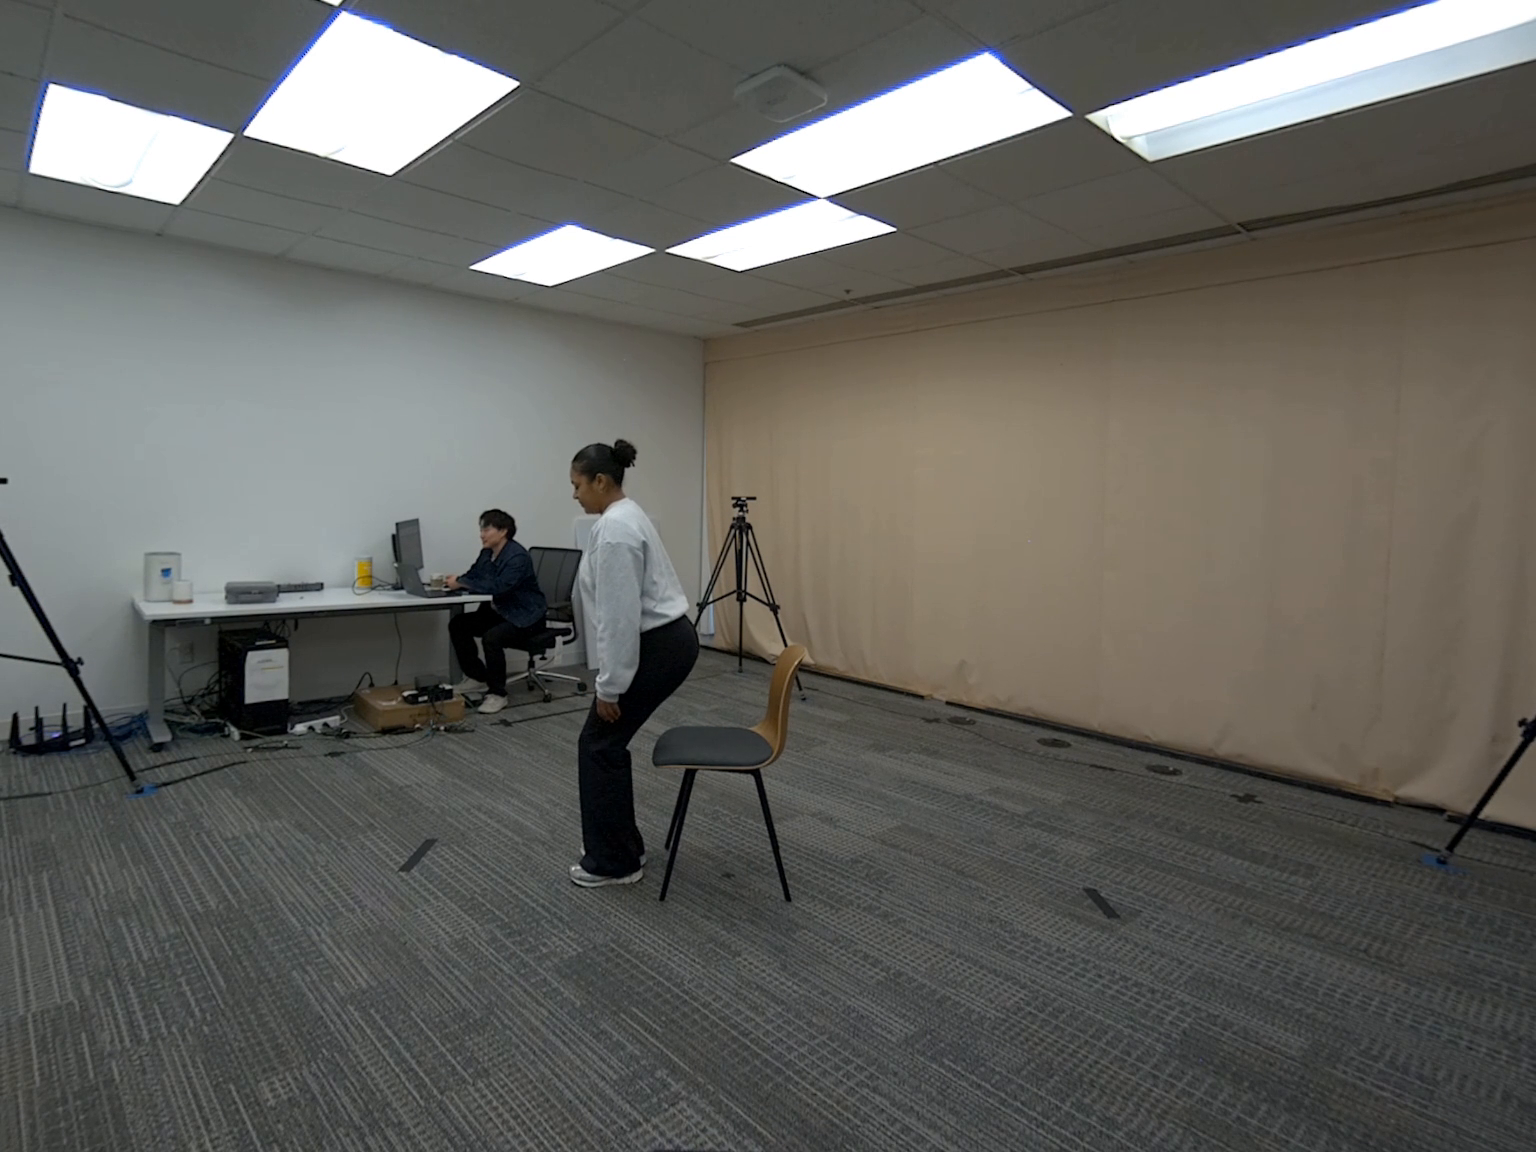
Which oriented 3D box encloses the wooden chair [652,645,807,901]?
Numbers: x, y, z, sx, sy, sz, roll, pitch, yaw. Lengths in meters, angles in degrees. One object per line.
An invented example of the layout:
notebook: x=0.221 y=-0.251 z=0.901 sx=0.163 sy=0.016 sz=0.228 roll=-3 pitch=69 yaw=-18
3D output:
wooden chair: x=-0.164 y=0.676 z=3.090 sx=0.521 sy=0.875 sz=0.481 roll=5 pitch=4 yaw=-4
